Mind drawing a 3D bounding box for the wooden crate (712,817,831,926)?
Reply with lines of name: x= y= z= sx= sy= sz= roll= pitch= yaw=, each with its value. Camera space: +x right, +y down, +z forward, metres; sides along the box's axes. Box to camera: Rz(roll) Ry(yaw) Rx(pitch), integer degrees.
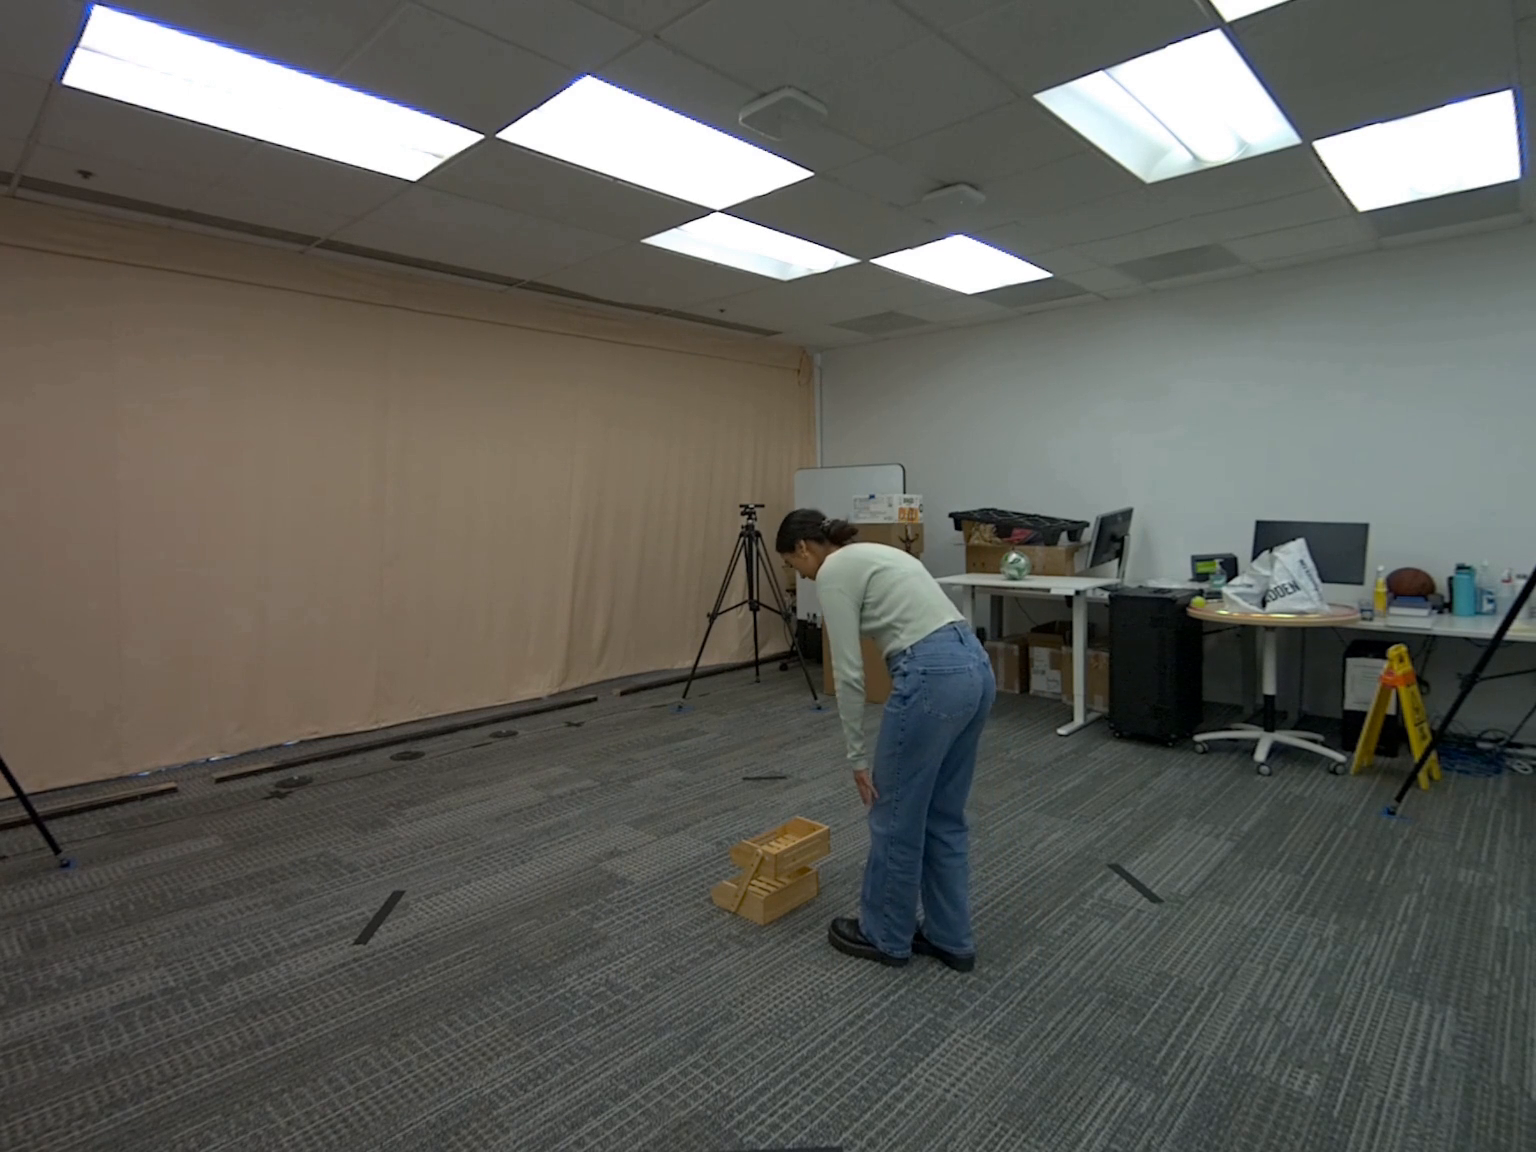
wooden crate: x=0.010 y=1.008 z=2.949 sx=0.312 sy=0.272 sz=0.314 roll=4 pitch=6 yaw=42
